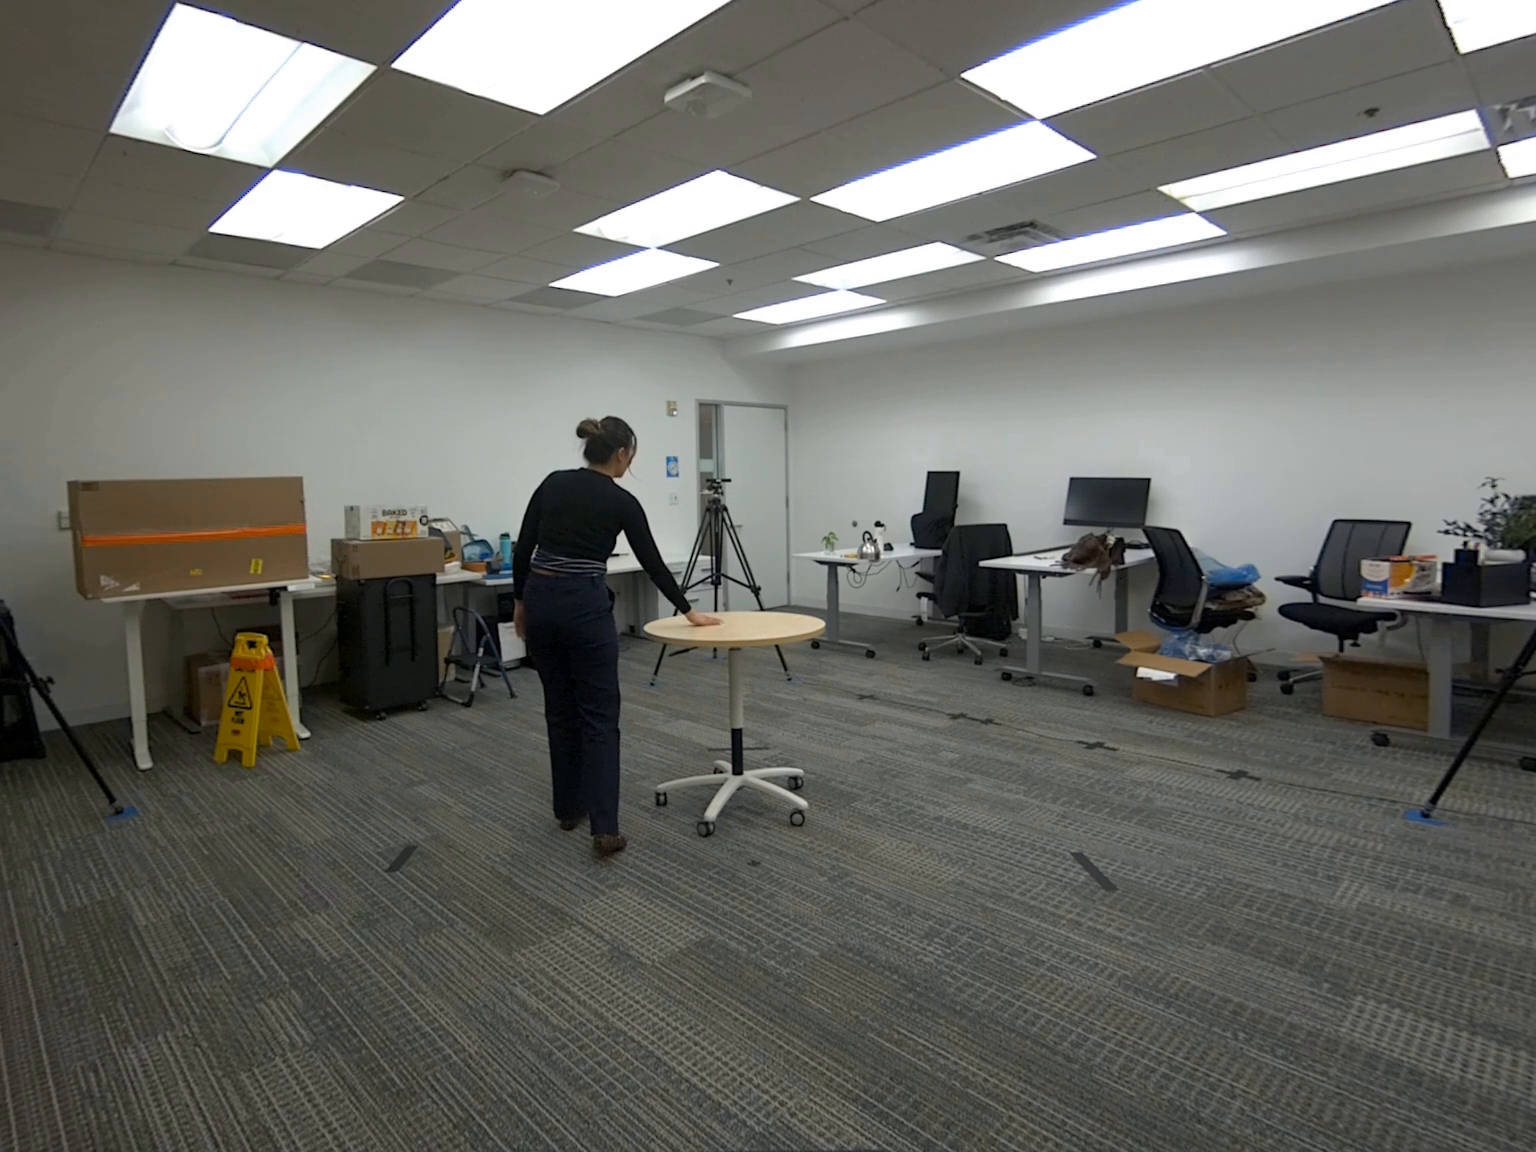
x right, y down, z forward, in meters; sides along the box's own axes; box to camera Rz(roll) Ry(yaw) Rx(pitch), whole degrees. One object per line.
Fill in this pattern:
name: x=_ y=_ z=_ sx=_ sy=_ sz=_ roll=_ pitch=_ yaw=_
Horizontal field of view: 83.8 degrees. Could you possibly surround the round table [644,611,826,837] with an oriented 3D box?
round table: x=-0.132 y=0.597 z=3.635 sx=0.763 sy=0.791 sz=0.767 roll=-2 pitch=4 yaw=-2
